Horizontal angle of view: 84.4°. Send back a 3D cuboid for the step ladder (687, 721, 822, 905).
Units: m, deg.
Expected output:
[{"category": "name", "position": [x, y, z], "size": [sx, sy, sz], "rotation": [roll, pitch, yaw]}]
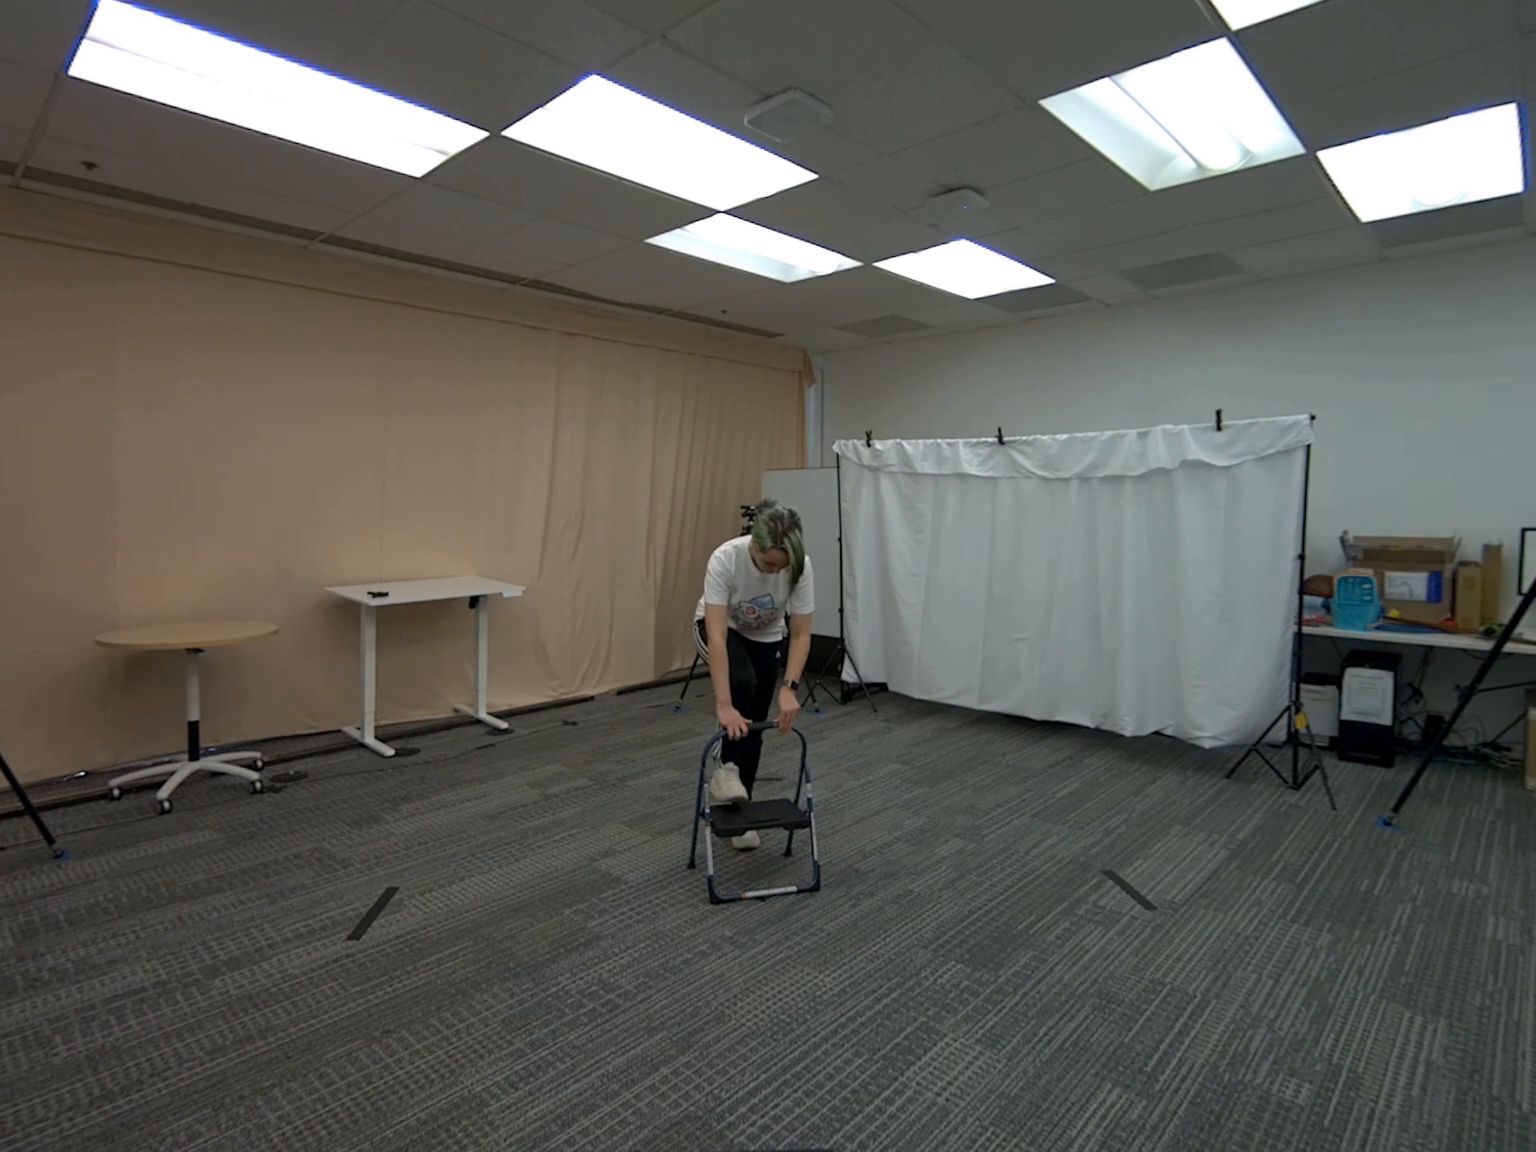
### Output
[{"category": "step ladder", "position": [-0.056, 0.830, 3.136], "size": [0.423, 0.605, 0.356], "rotation": [-1, 4, -17]}]
